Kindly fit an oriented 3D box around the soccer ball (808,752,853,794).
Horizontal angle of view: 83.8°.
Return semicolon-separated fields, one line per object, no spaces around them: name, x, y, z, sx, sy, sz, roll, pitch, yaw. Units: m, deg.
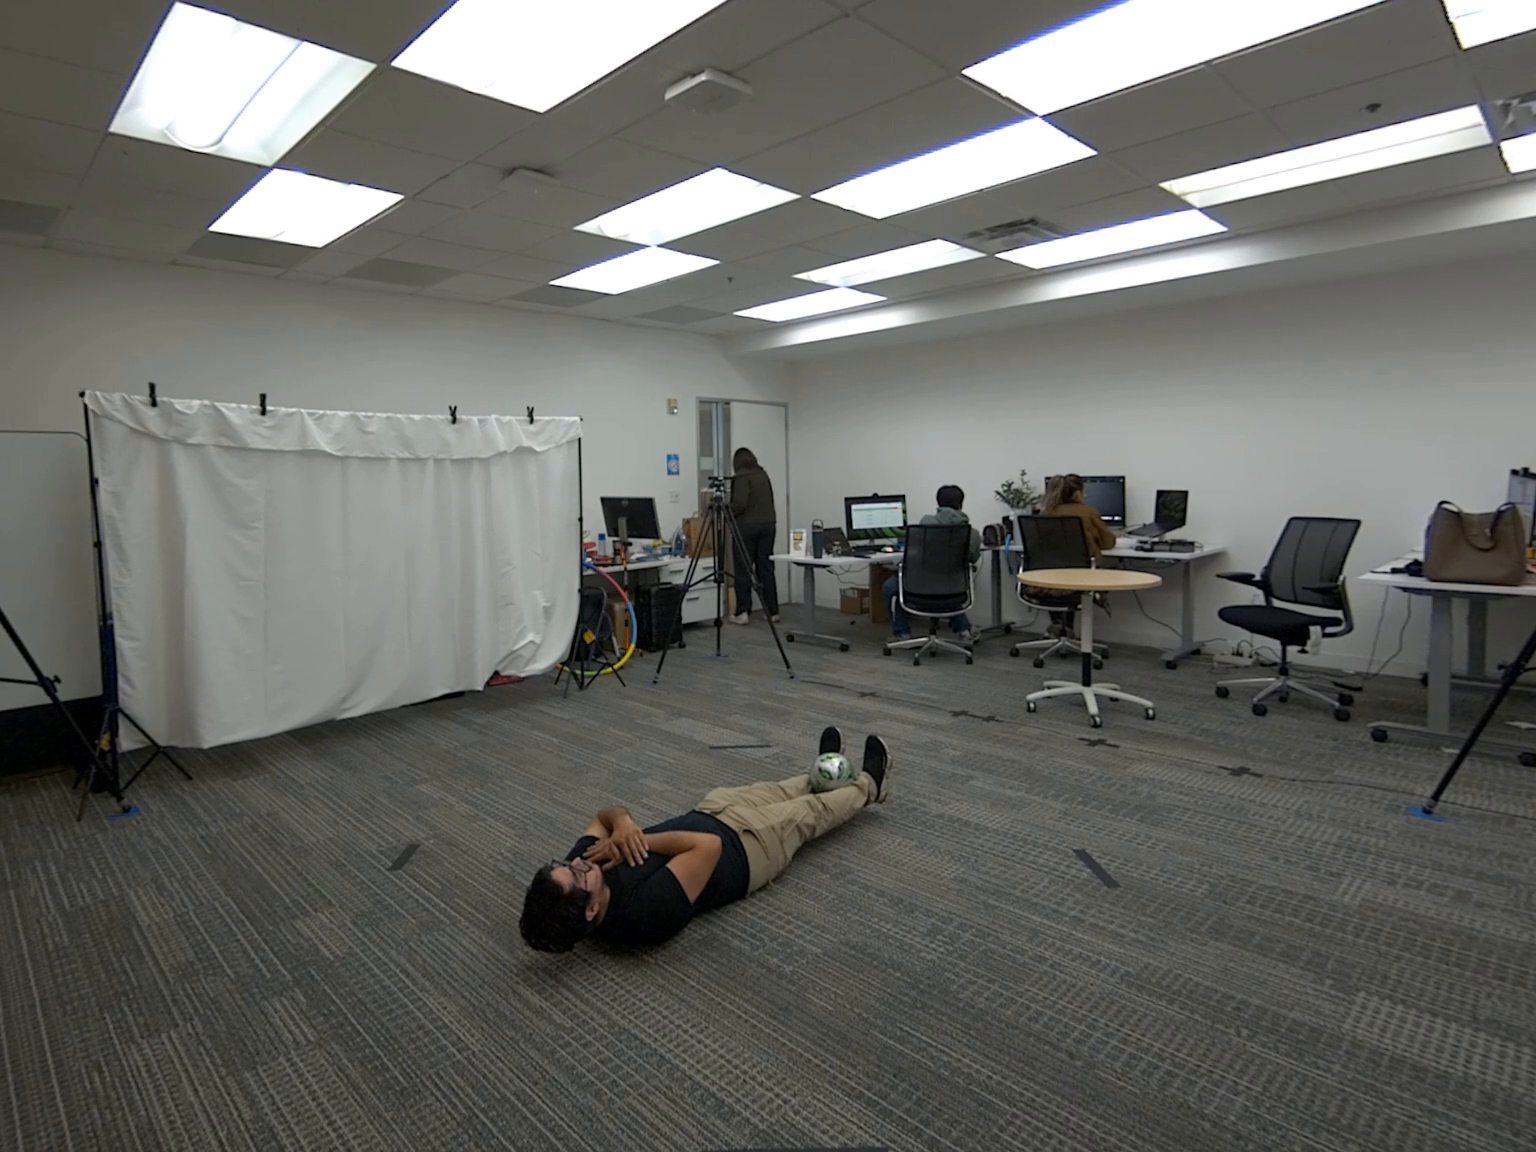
soccer ball;0.274;0.822;3.493;0.187;0.187;0.188;-1;4;-2
